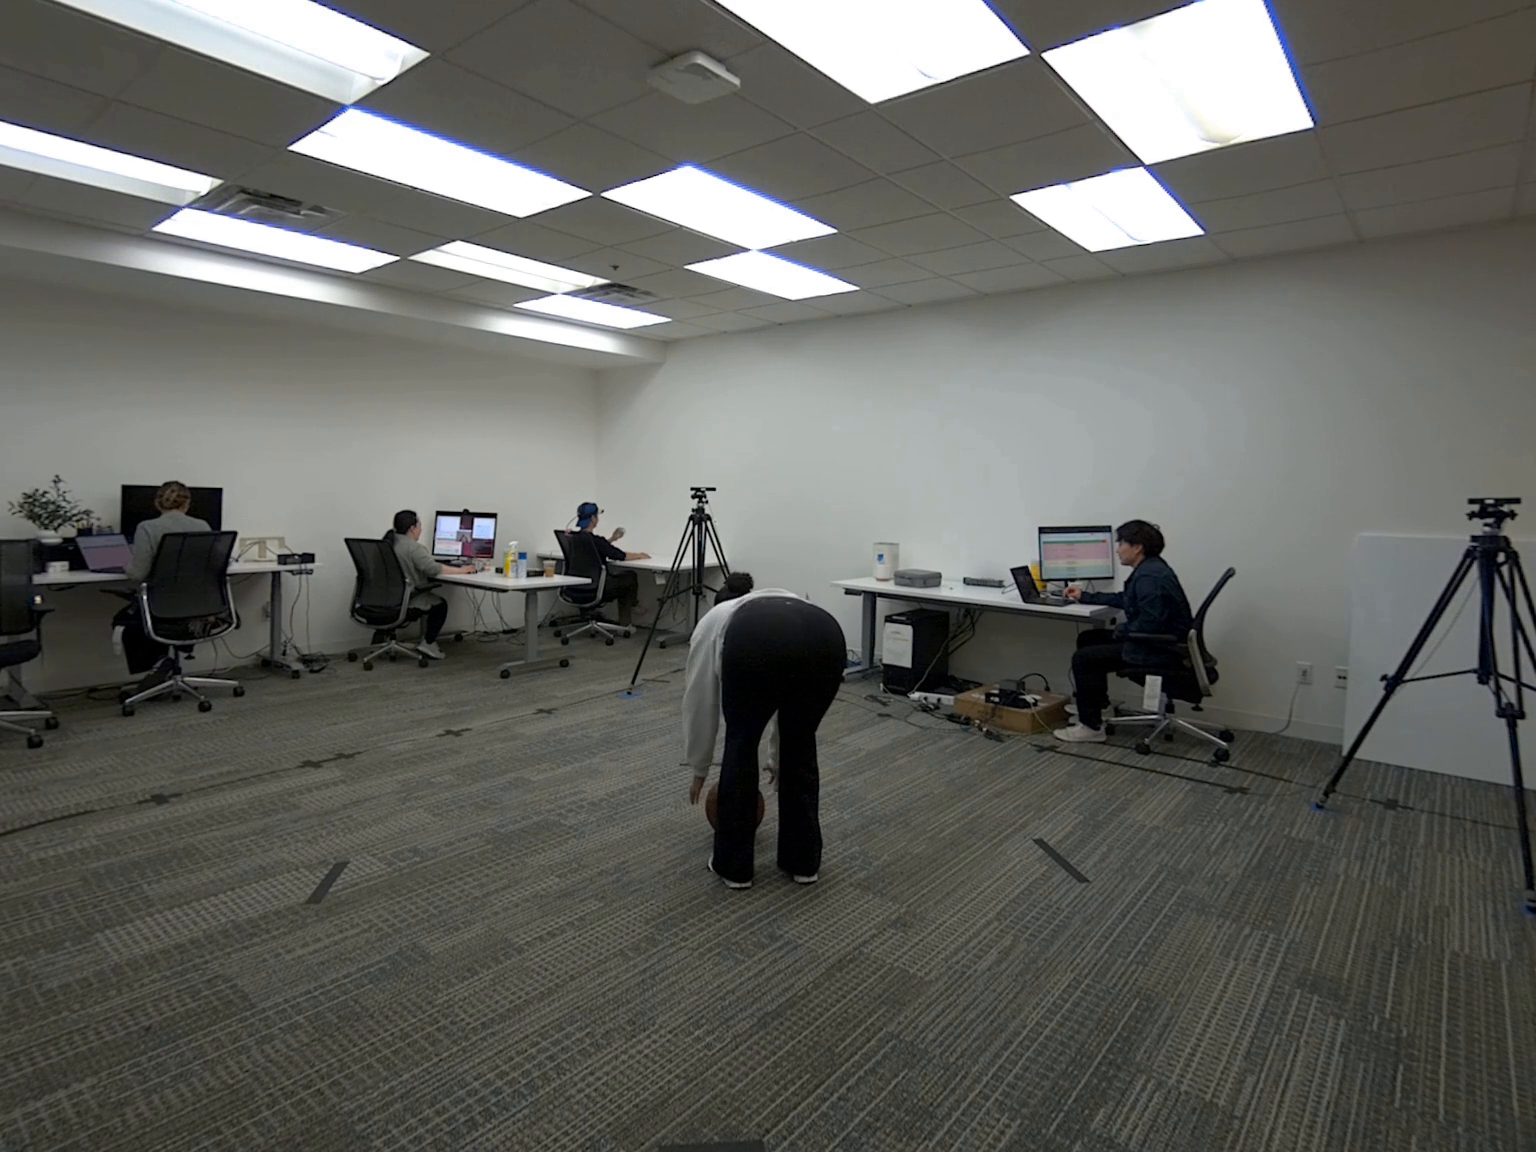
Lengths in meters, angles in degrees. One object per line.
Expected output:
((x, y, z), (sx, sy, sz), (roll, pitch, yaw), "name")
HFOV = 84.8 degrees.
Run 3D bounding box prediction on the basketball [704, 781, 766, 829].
((-0.137, 0.911, 3.392), (0.235, 0.235, 0.237), (1, 4, -2), "basketball")
